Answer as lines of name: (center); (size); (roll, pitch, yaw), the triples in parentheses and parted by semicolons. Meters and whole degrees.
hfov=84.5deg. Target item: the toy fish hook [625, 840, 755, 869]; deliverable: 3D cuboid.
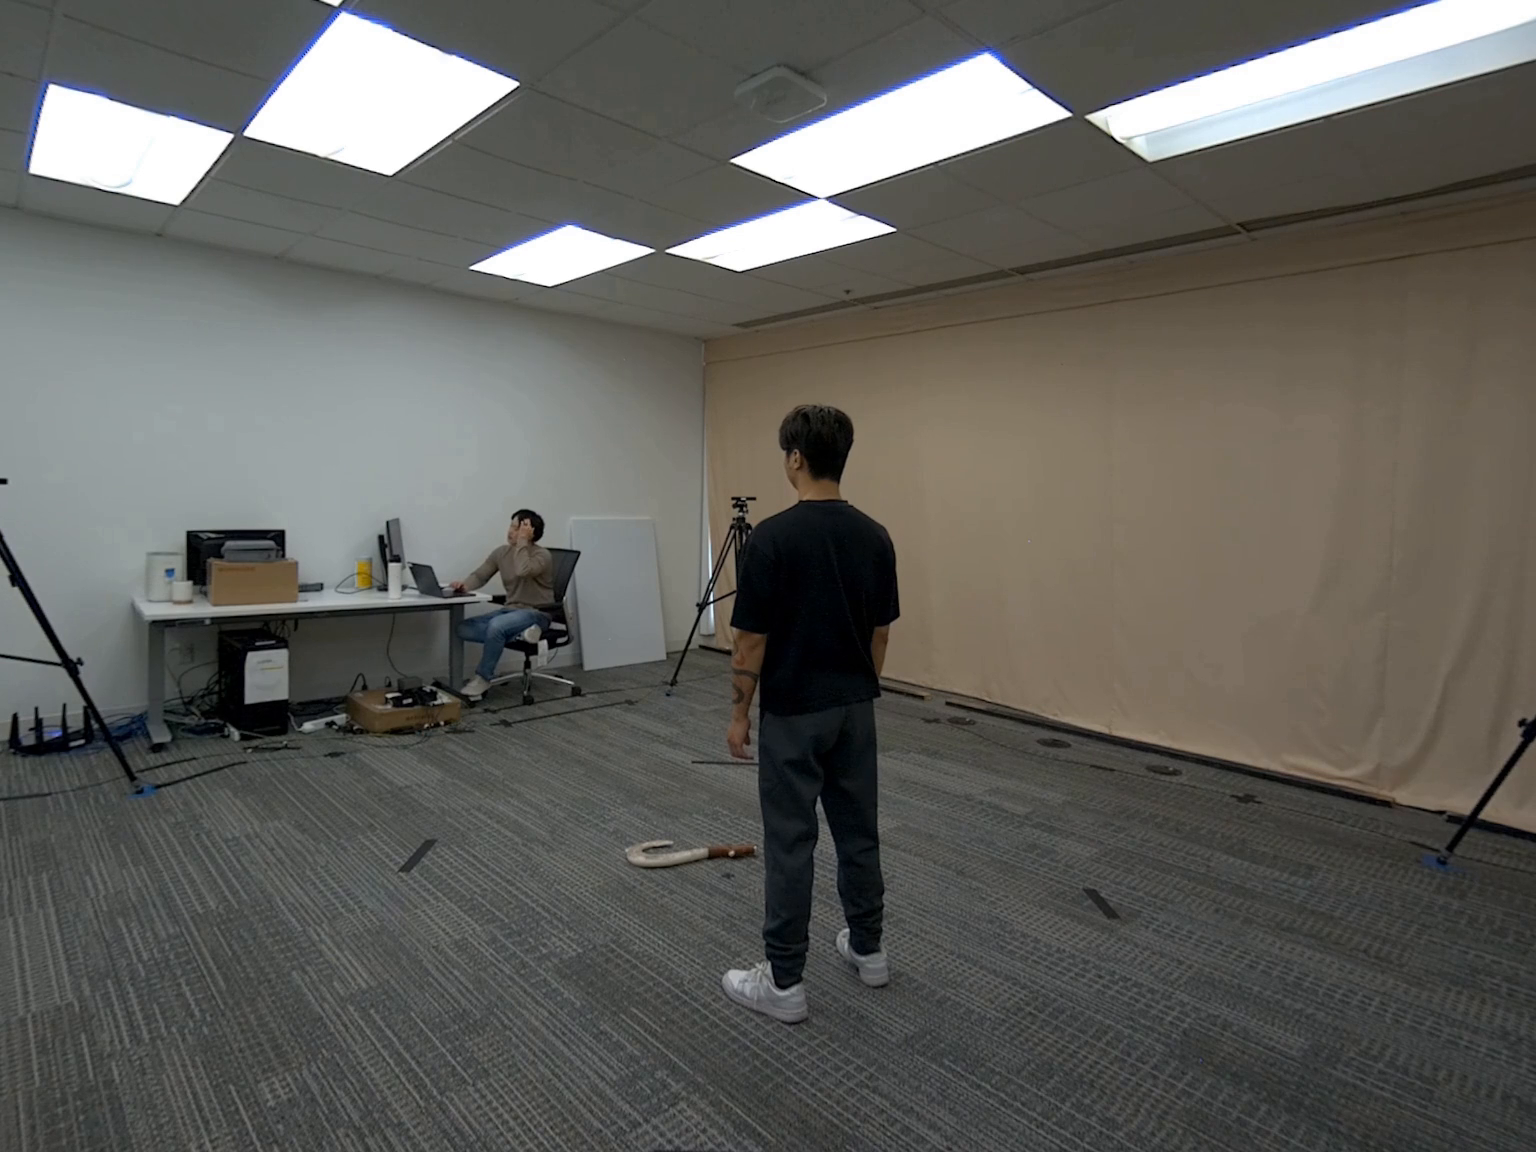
toy fish hook: (-0.304, 1.064, 3.283); (0.501, 0.048, 0.228); (0, 6, -14)
